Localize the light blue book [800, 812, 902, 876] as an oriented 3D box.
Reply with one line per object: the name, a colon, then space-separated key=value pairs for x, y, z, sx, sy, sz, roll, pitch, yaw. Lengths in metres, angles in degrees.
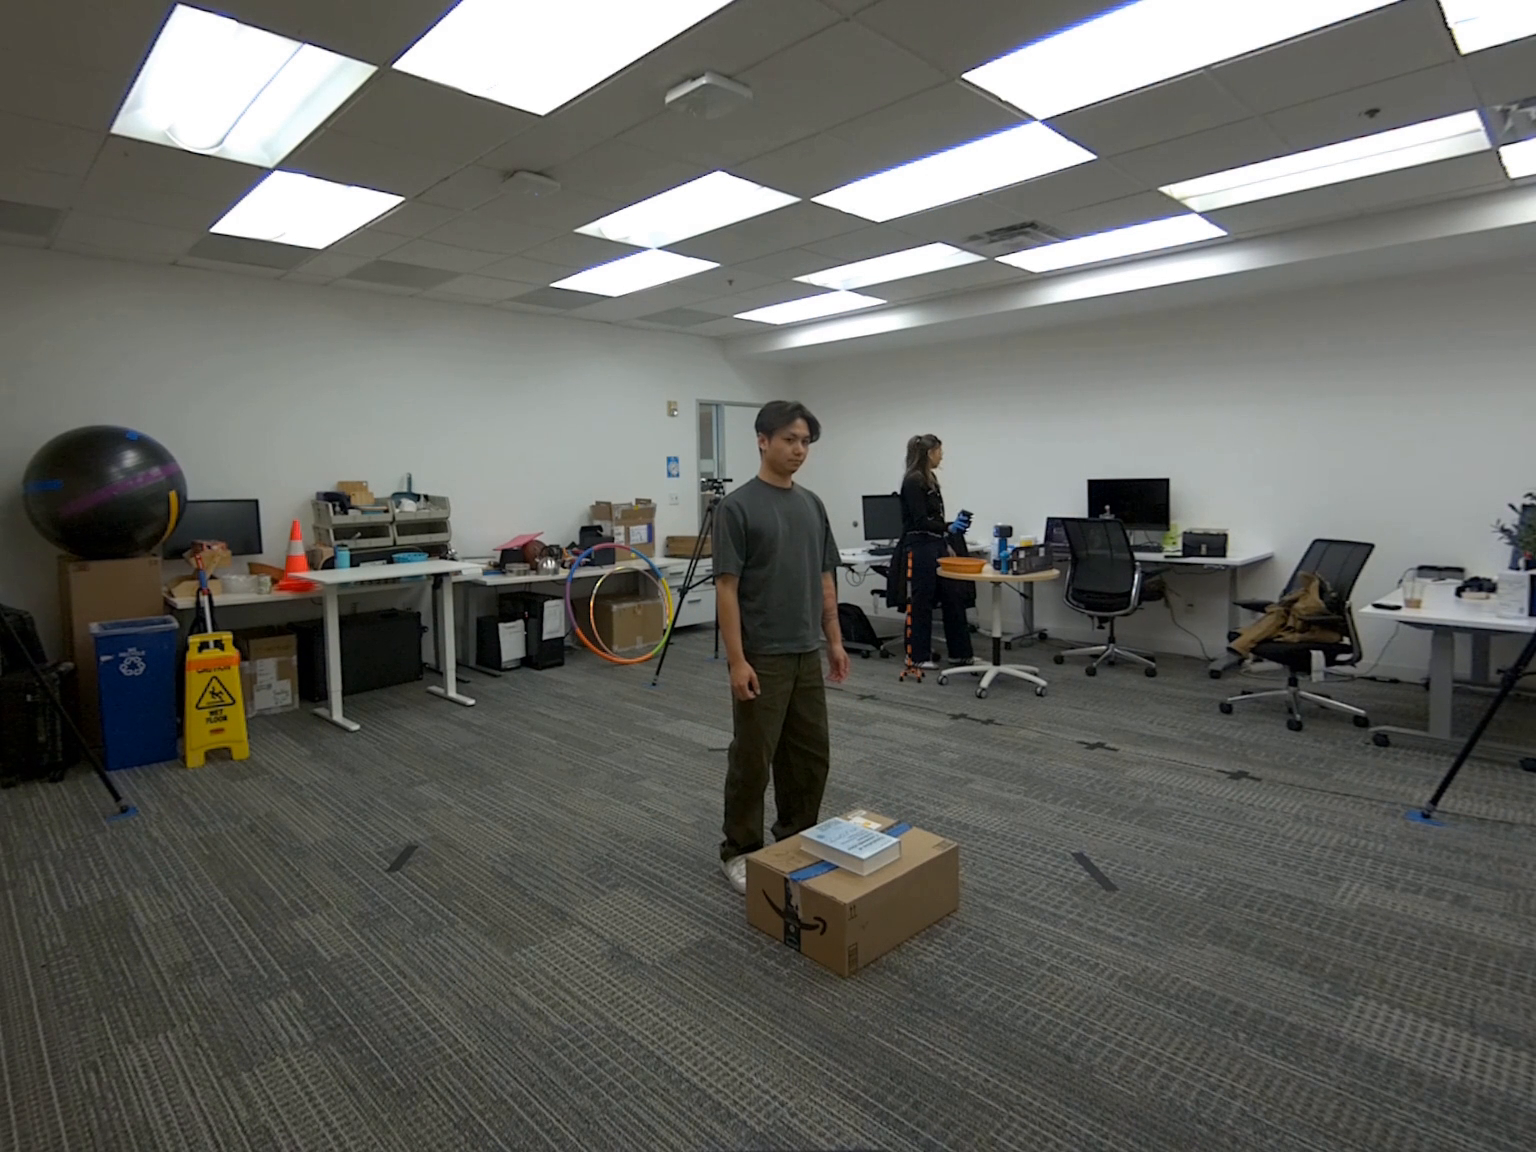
light blue book: x=0.262 y=0.849 z=2.697 sx=0.186 sy=0.059 sz=0.269 roll=-8 pitch=9 yaw=-43
